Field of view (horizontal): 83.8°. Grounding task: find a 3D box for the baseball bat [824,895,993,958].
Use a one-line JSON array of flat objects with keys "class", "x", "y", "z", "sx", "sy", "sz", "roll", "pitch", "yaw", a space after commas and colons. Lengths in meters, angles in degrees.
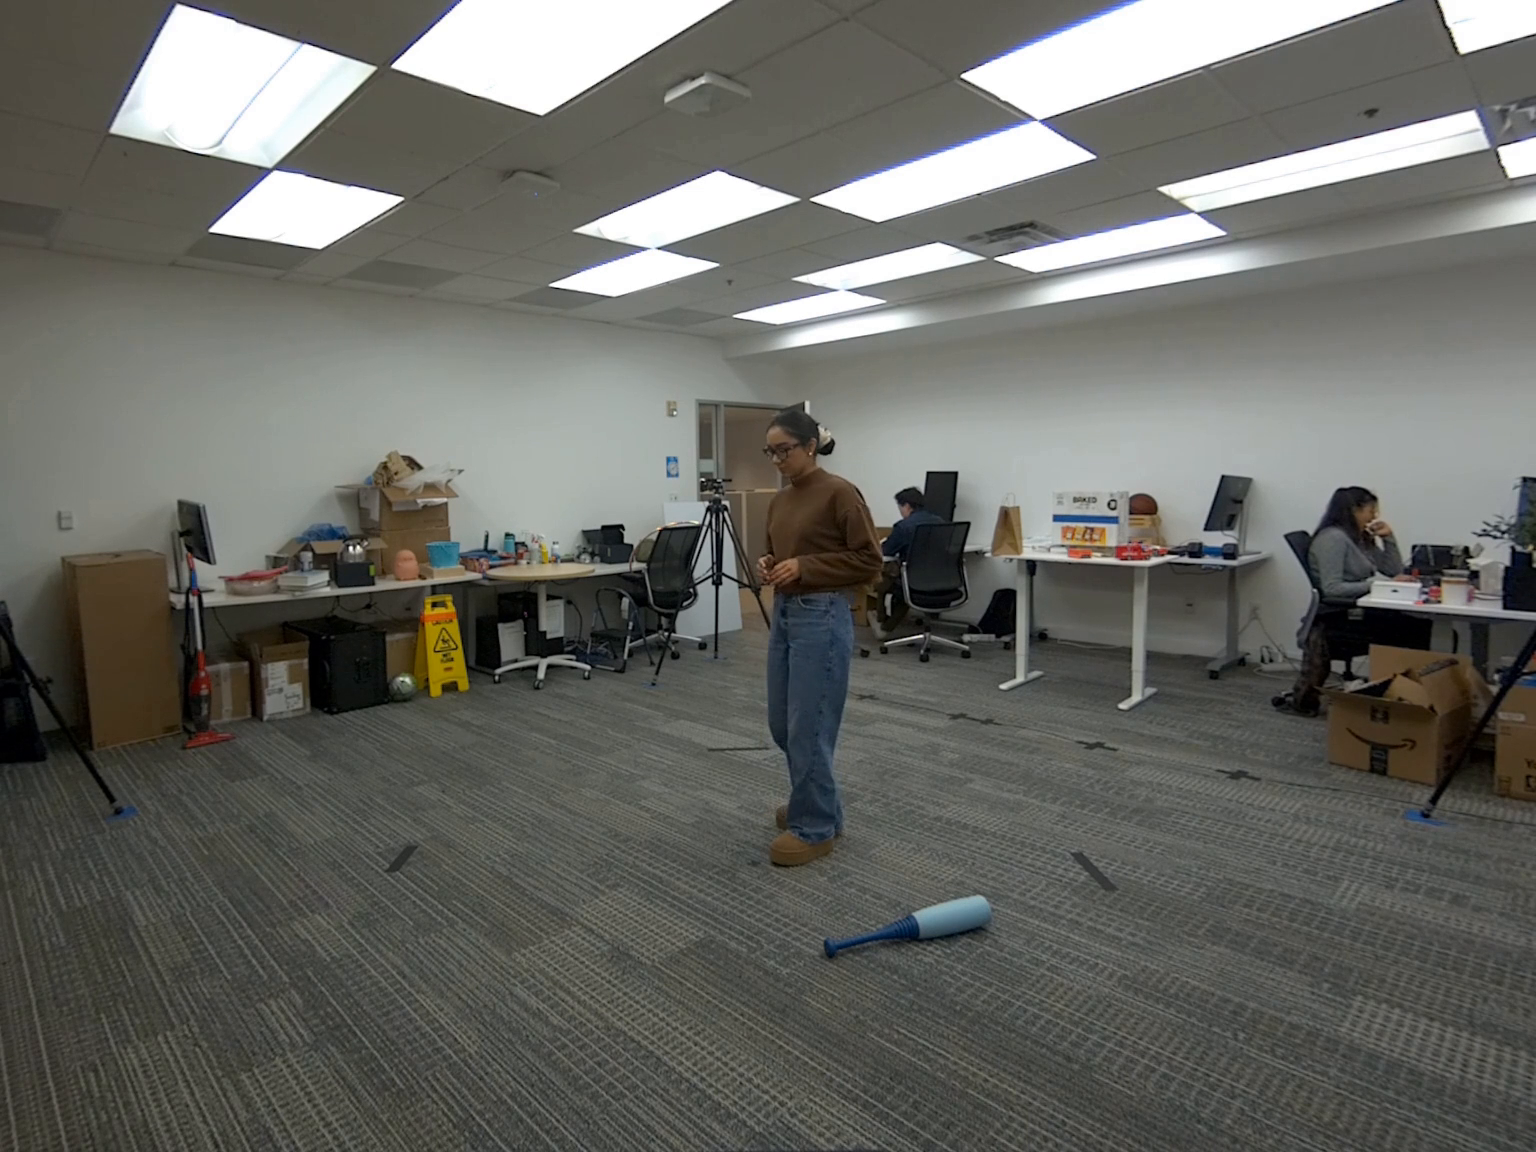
[{"class": "baseball bat", "x": 0.430, "y": 1.064, "z": 2.566, "sx": 0.535, "sy": 0.088, "sz": 0.091, "roll": -7, "pitch": 6, "yaw": -17}]
